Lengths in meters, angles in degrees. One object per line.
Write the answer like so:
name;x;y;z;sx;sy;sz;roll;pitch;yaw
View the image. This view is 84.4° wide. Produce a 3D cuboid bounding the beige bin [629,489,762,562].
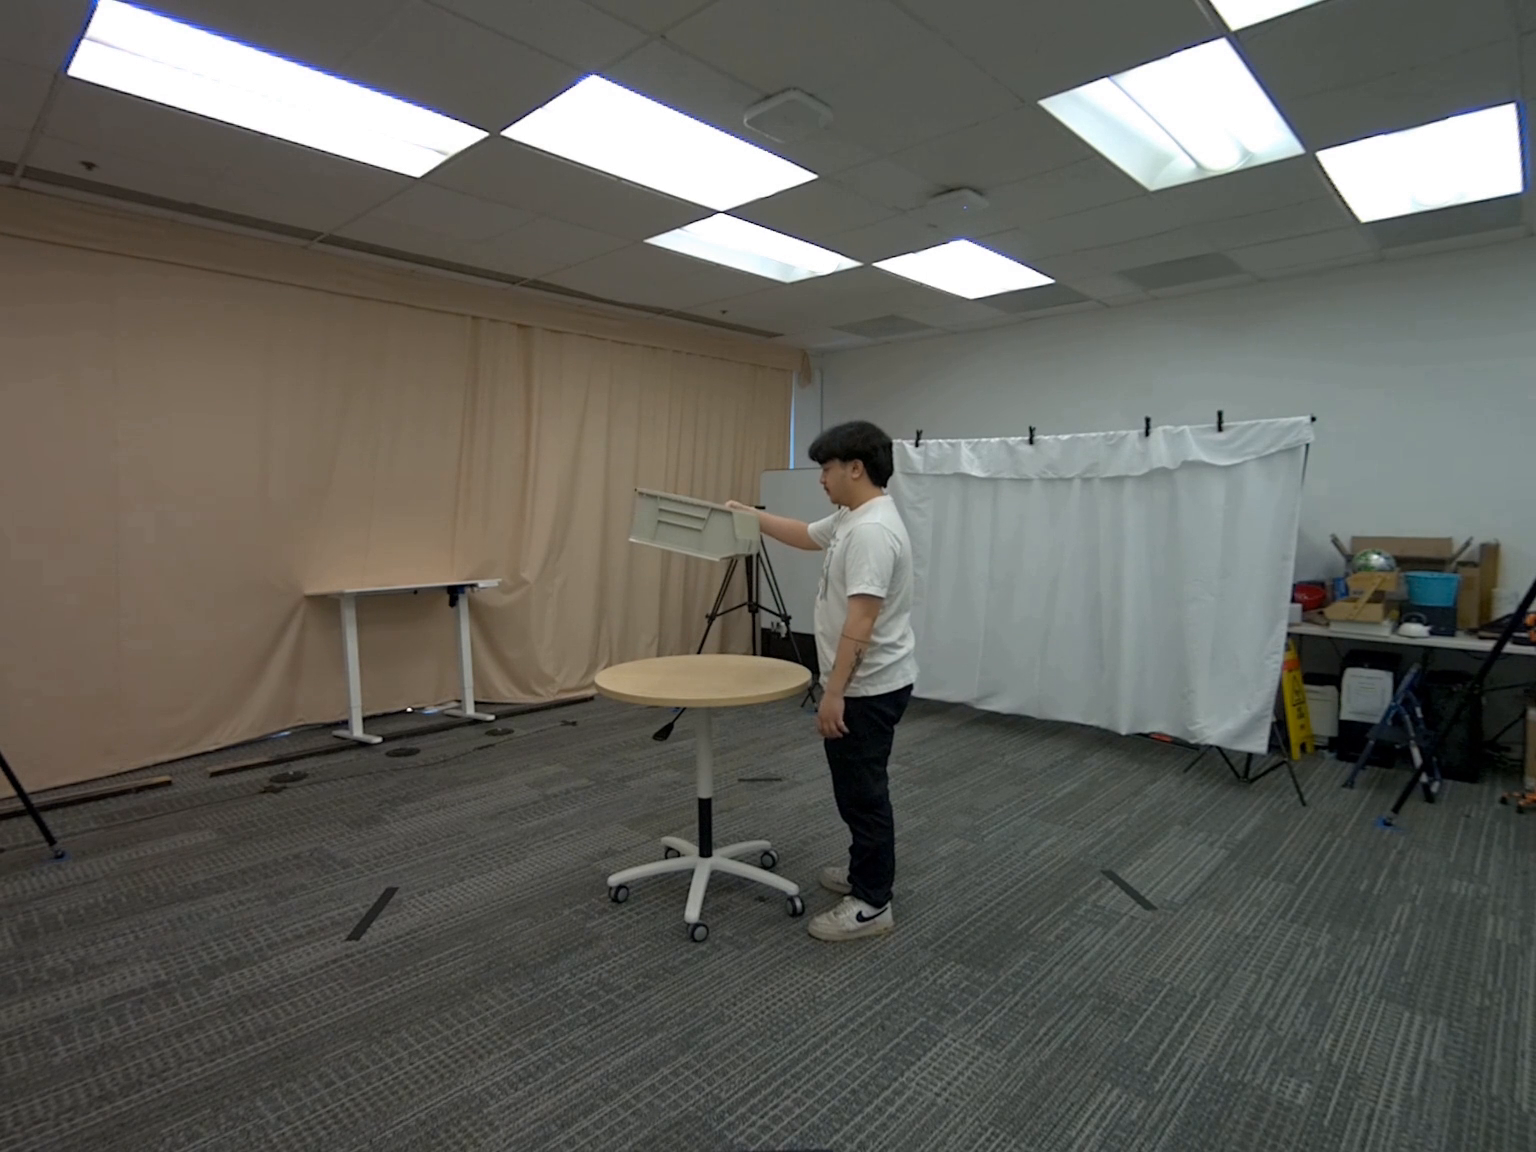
beige bin;-0.231;-0.162;2.936;0.382;0.189;0.417;13;4;10
